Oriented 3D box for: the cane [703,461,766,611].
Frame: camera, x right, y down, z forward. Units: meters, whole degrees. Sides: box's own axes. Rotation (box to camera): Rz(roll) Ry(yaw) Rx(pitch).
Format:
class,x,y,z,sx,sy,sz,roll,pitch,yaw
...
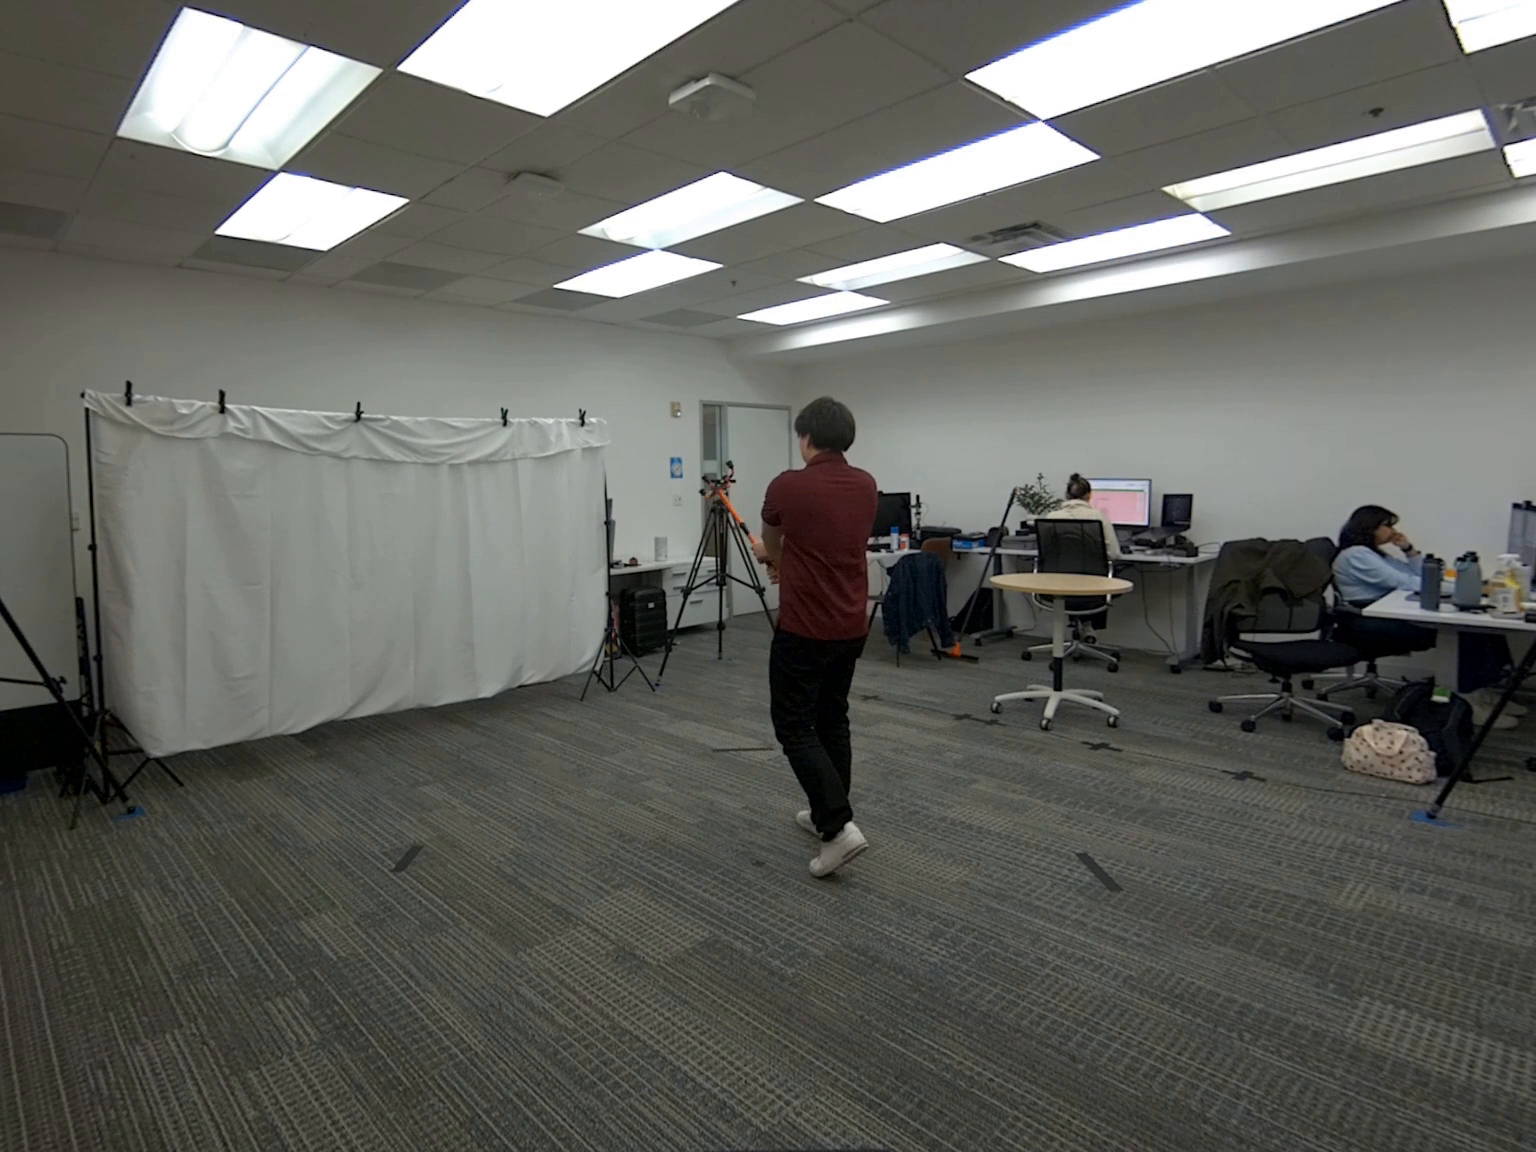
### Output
class,x,y,z,sx,sy,sz,roll,pitch,yaw
cane,0.013,-0.049,3.598,0.151,0.923,0.204,-30,-13,-12
